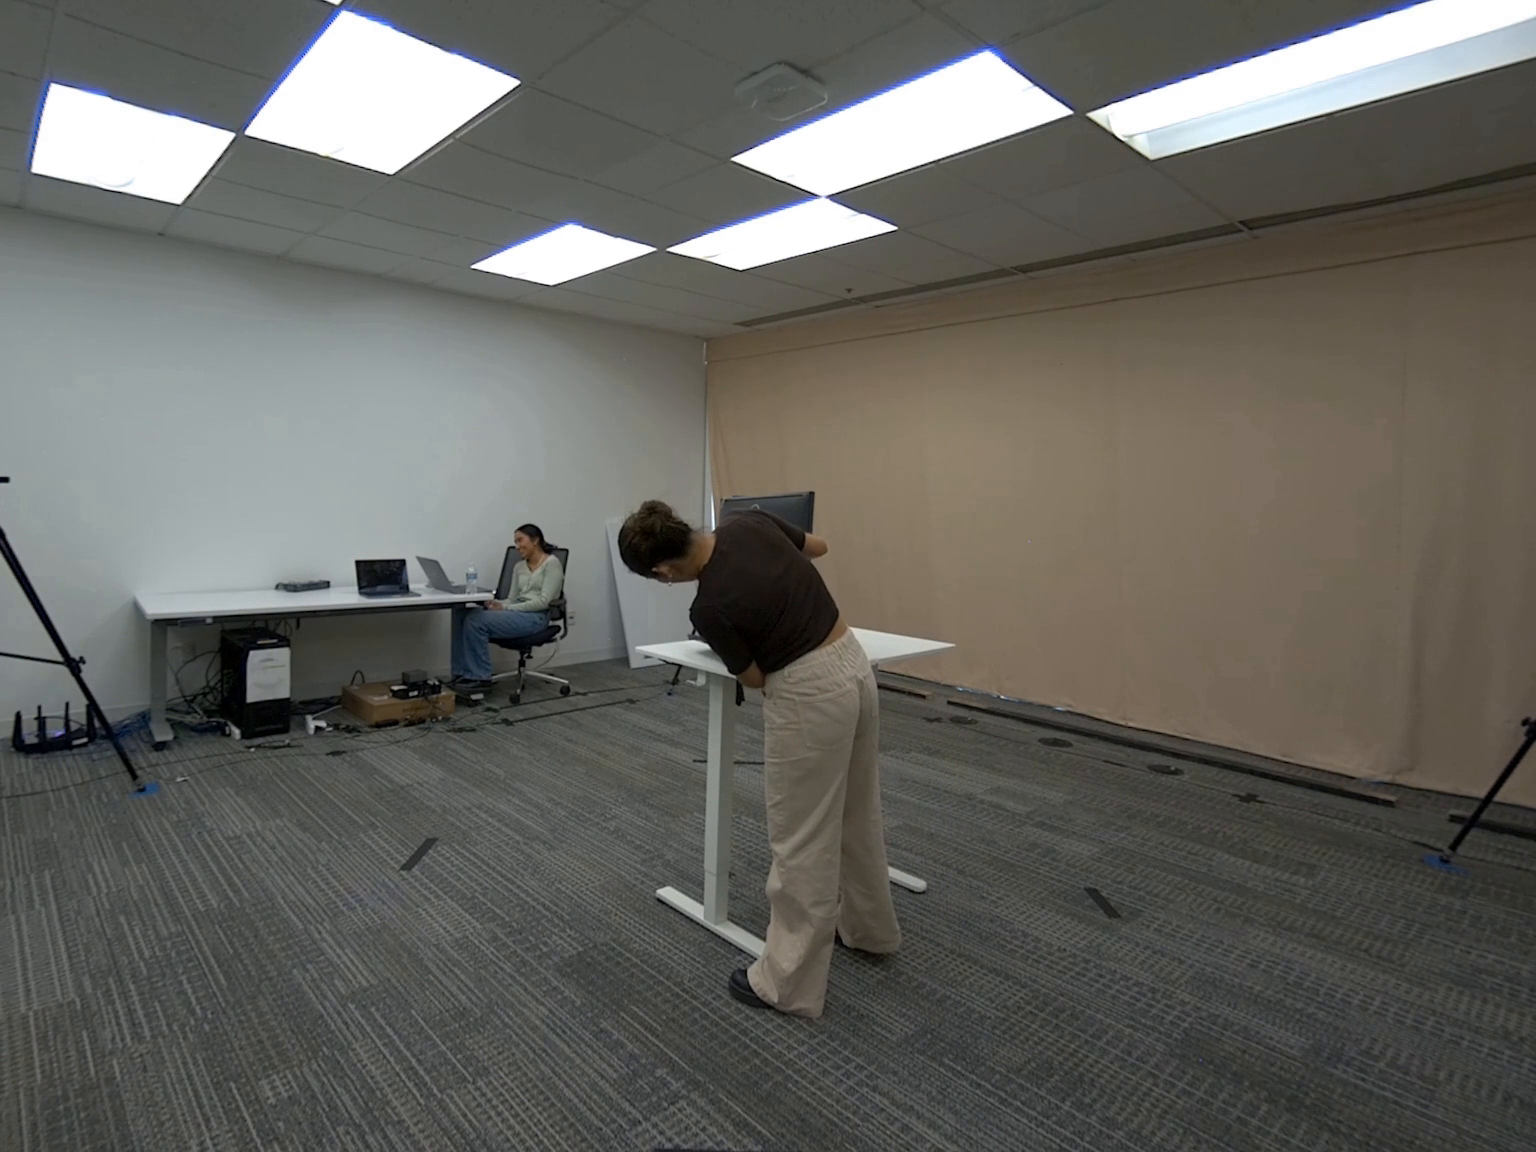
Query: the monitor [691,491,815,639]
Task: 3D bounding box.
[{"bbox_3d":[-0.072,-0.007,2.698,0.182,0.525,0.551,20,-9,-32],"label":"monitor"}]
